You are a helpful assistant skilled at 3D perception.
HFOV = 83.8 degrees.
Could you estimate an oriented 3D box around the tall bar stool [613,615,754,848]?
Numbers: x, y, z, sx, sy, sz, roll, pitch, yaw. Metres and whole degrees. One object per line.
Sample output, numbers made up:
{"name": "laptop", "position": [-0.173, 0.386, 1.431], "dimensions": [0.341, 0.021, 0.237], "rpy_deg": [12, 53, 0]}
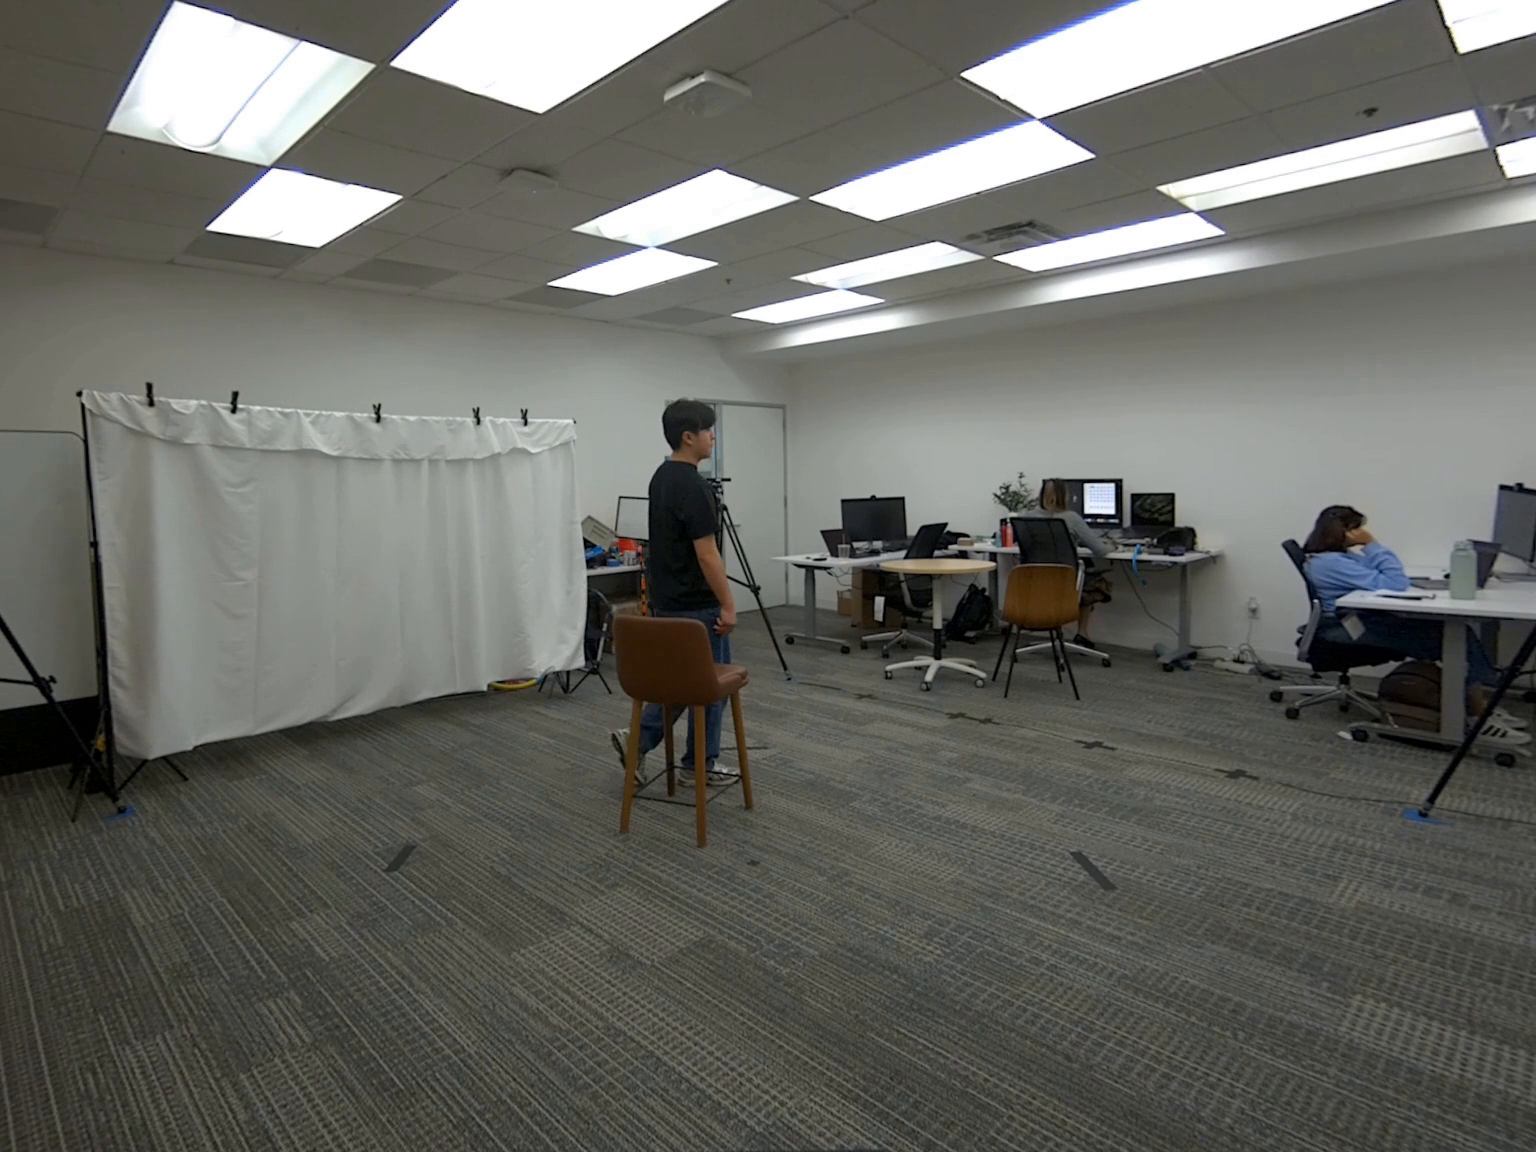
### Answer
{"name": "tall bar stool", "position": [-0.347, 0.570, 3.487], "dimensions": [0.467, 0.885, 0.459], "rpy_deg": [1, 6, 26]}
